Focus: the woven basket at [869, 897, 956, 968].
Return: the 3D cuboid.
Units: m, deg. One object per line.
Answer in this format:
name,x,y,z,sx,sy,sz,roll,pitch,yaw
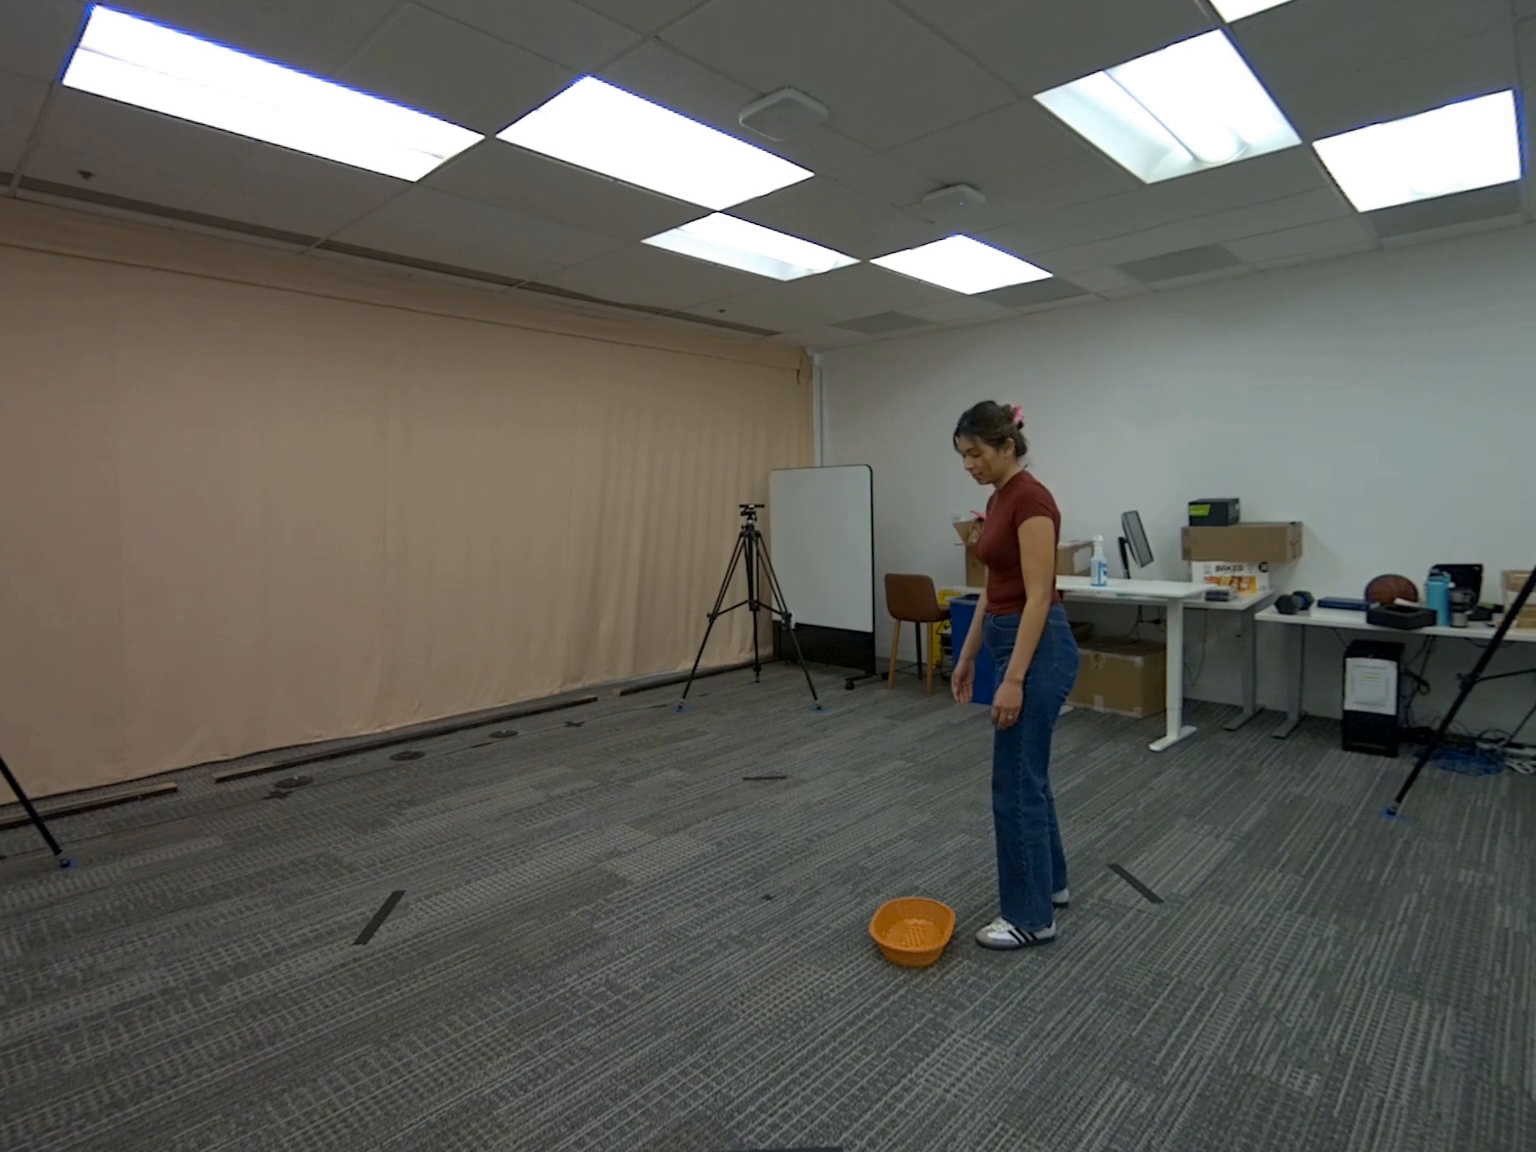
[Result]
woven basket,0.456,1.125,2.651,0.259,0.073,0.342,0,5,25
